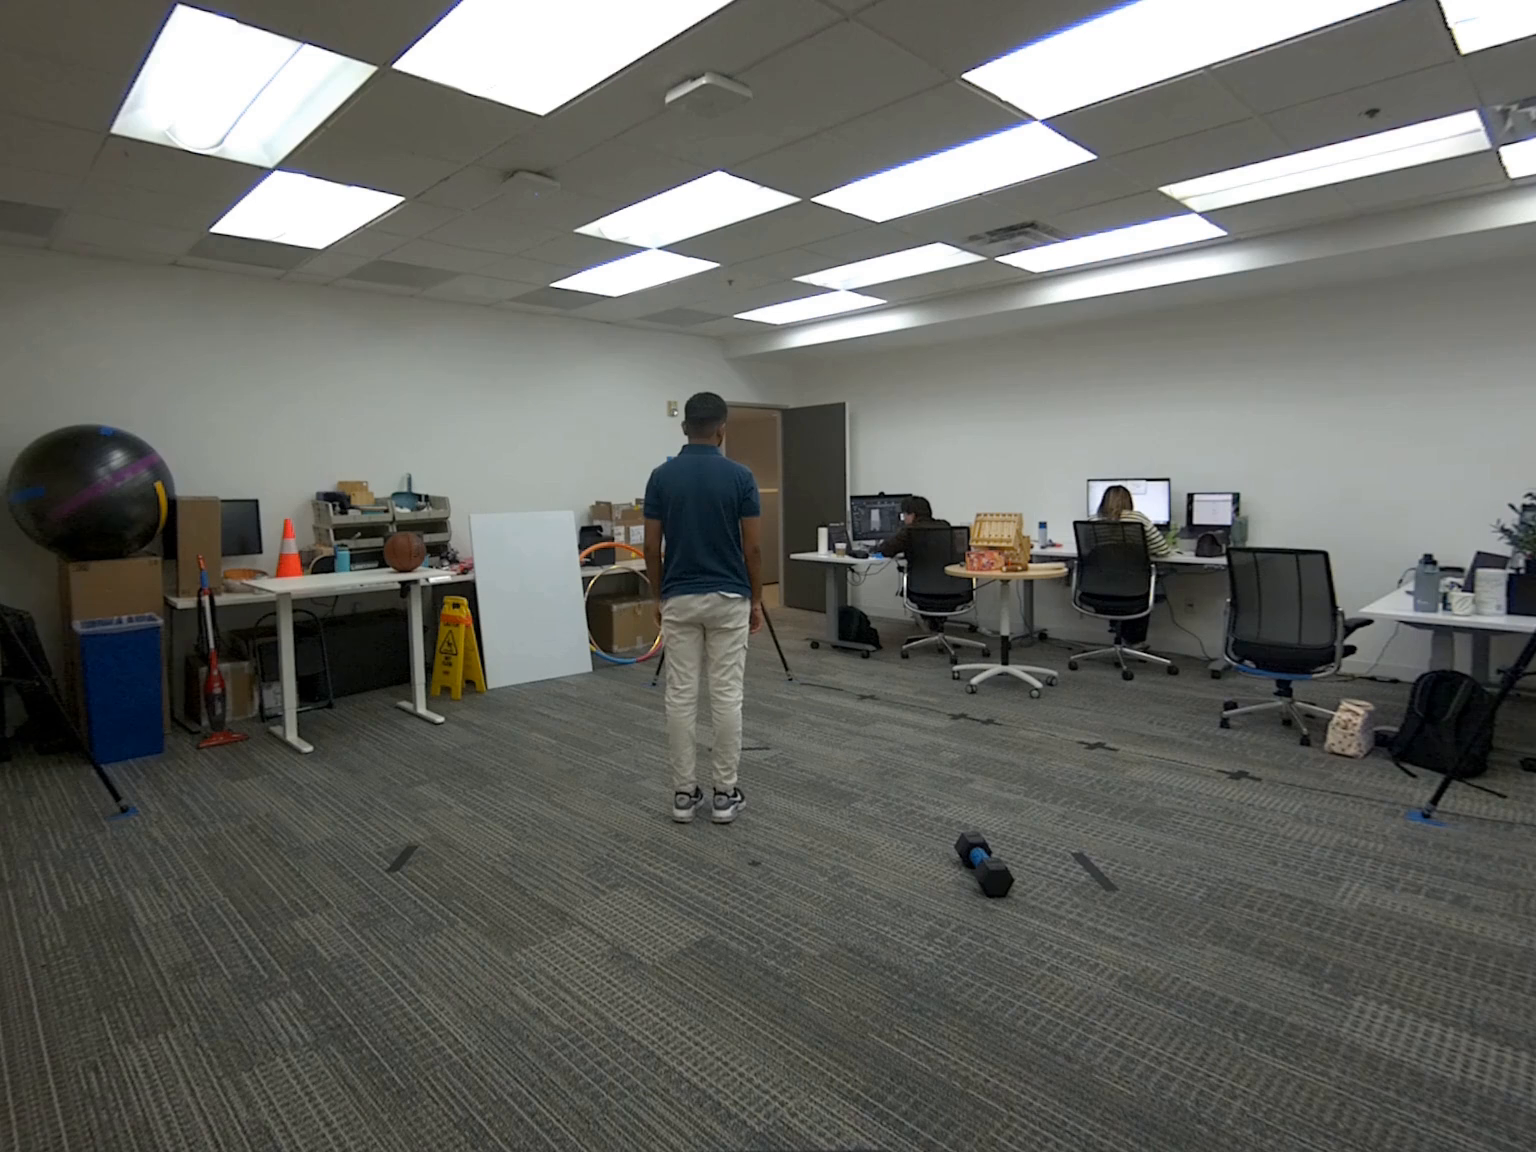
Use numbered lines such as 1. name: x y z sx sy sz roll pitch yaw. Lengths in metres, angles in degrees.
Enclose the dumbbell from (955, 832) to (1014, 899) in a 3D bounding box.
1. dumbbell: 0.749 0.994 2.957 0.109 0.122 0.296 -33 7 0
